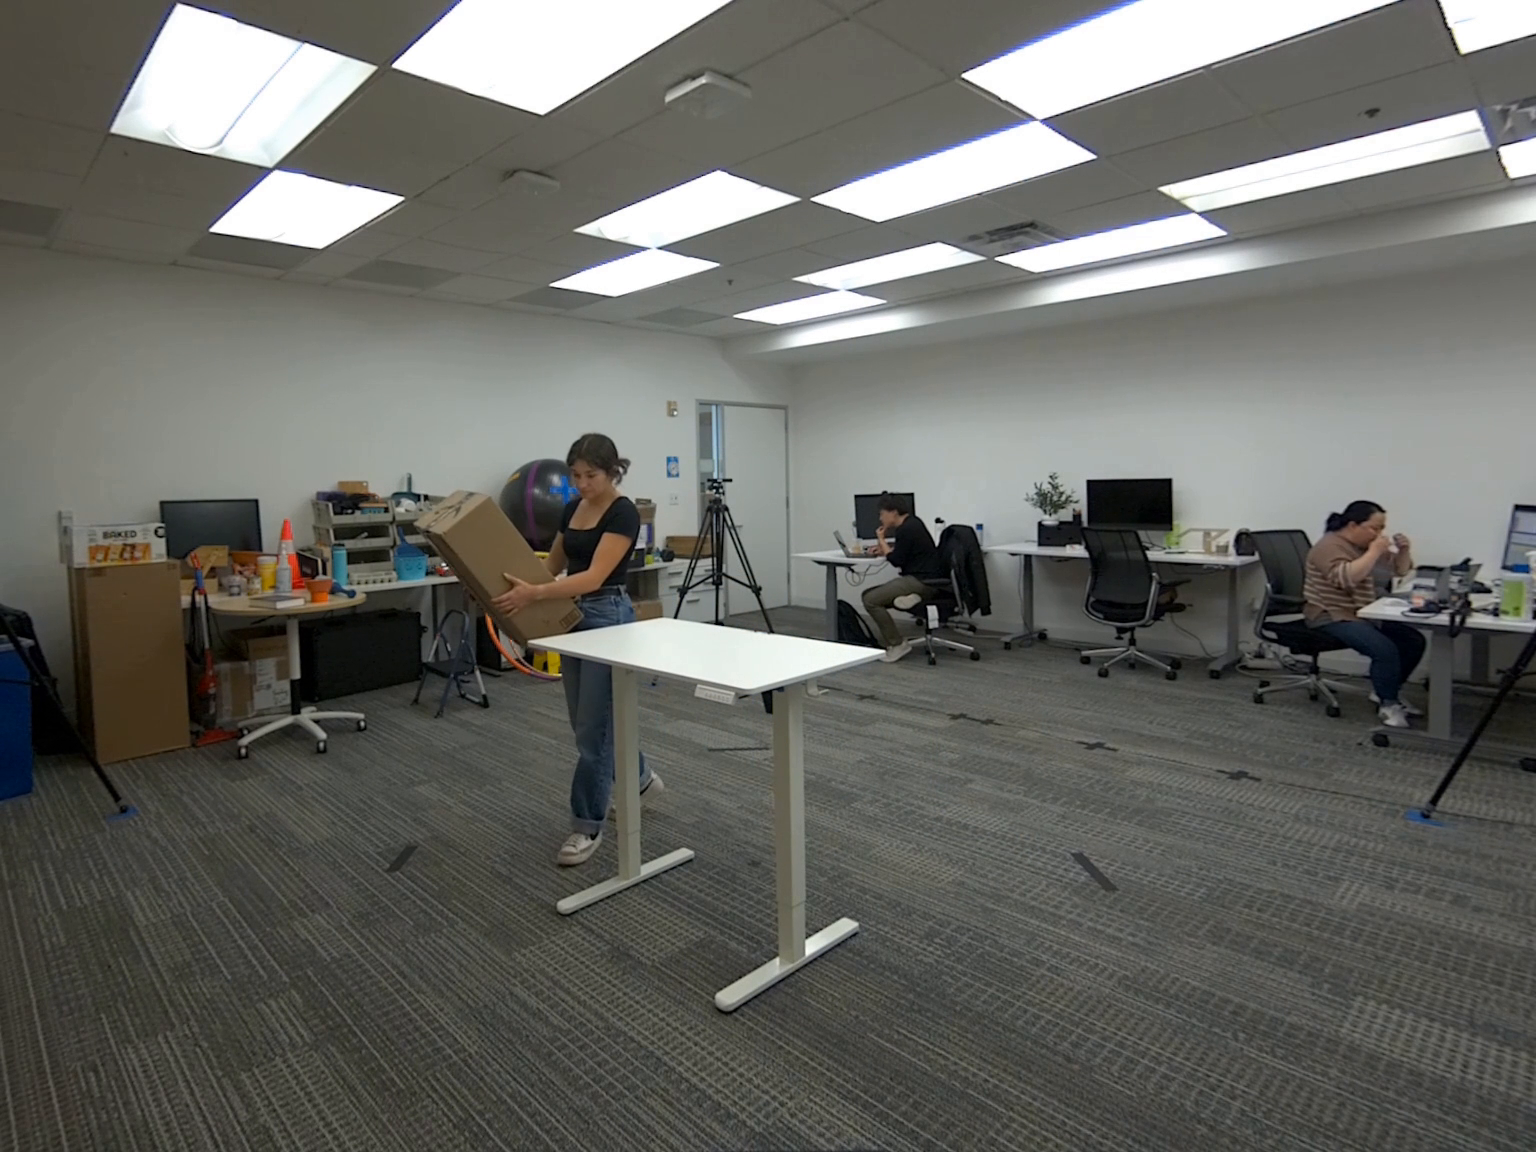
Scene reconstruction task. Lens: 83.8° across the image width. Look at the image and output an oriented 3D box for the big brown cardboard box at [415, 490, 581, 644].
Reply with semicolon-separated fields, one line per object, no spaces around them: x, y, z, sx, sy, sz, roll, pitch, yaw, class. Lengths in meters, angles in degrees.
-0.999;-0.023;3.147;0.233;0.572;0.430;-44;26;-21;big brown cardboard box
